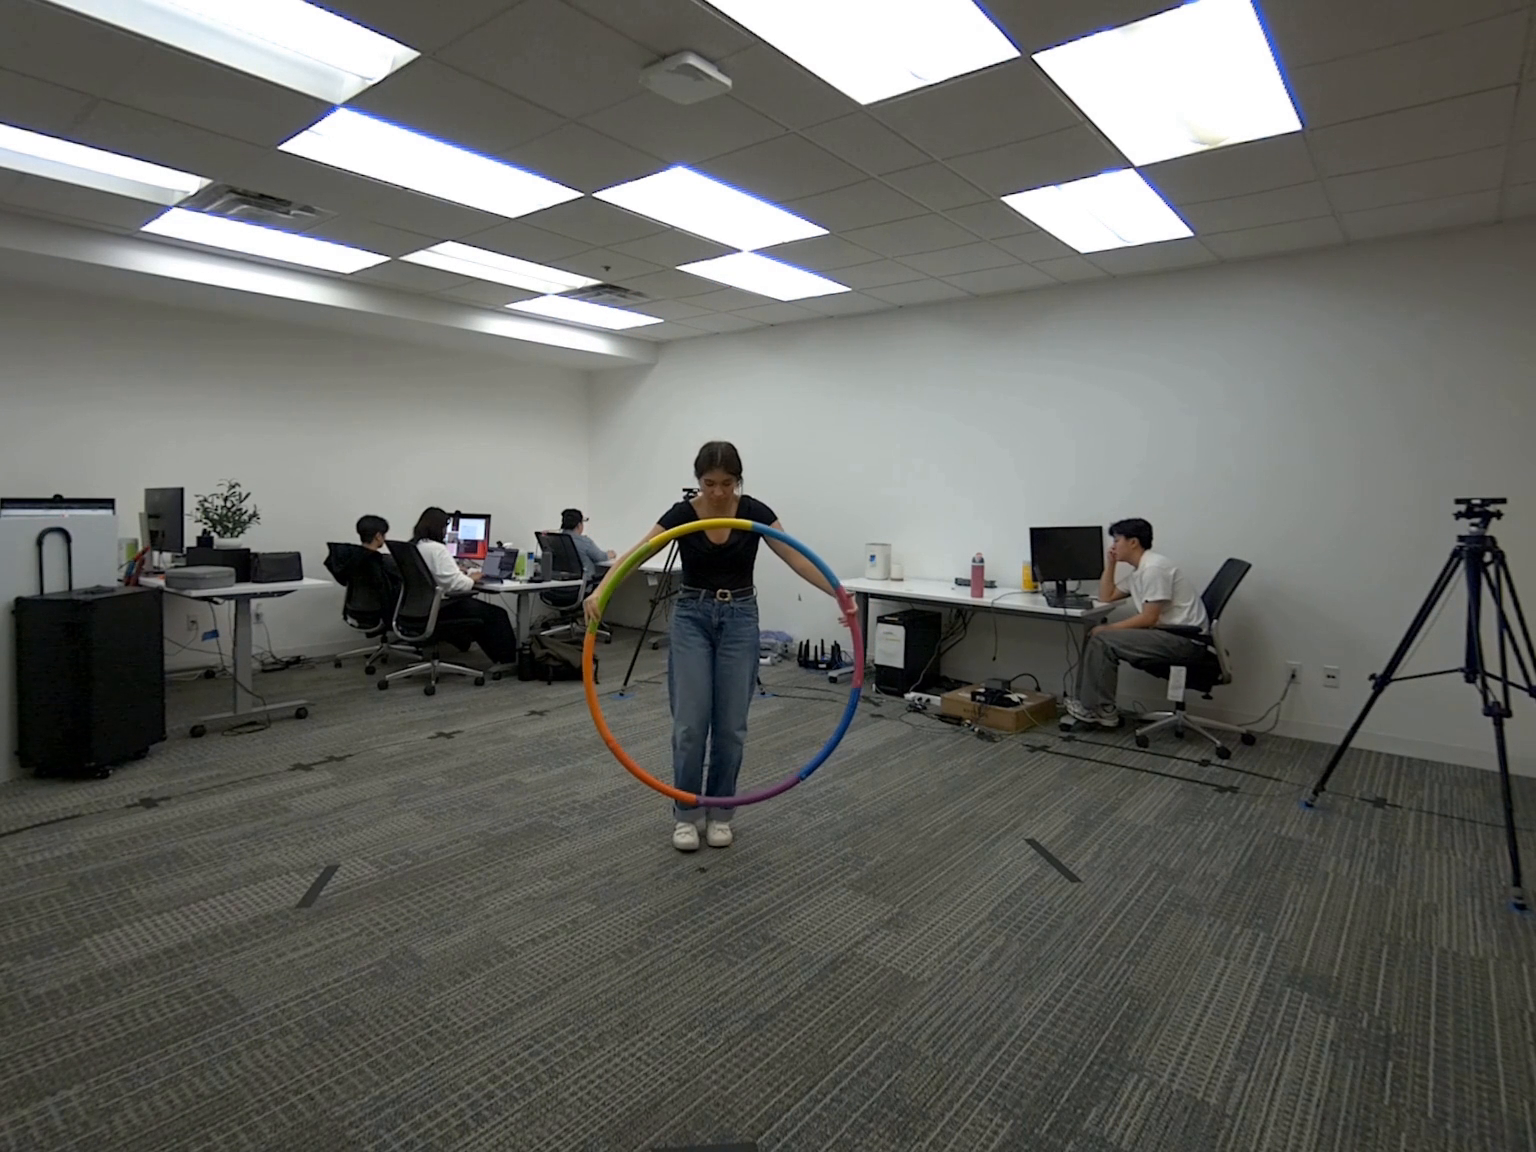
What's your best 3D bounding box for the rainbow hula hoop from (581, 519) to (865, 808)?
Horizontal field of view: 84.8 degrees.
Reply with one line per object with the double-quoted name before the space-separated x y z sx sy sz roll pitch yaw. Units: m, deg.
"rainbow hula hoop" -0.165 0.285 2.964 0.976 0.985 0.035 0 -7 -2
